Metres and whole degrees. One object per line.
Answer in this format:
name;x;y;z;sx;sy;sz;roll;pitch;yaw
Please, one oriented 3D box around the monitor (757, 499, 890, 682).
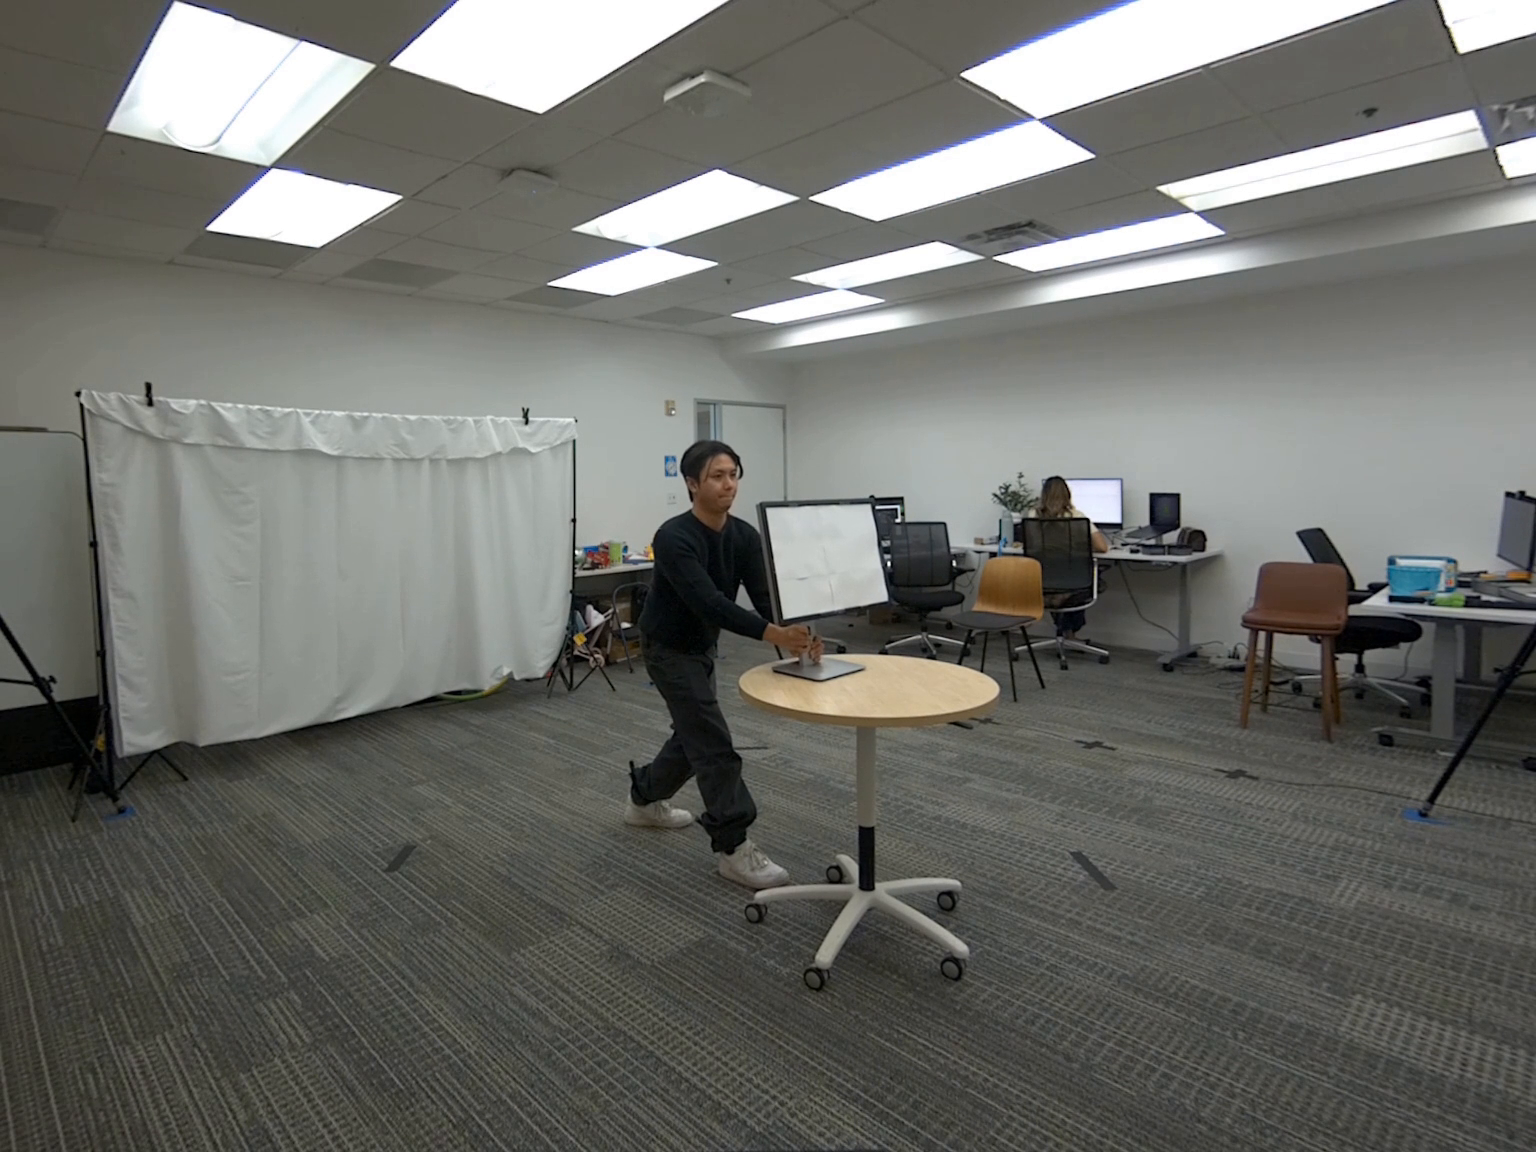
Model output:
monitor;0.162;0.033;2.697;0.193;0.520;0.525;3;6;43
